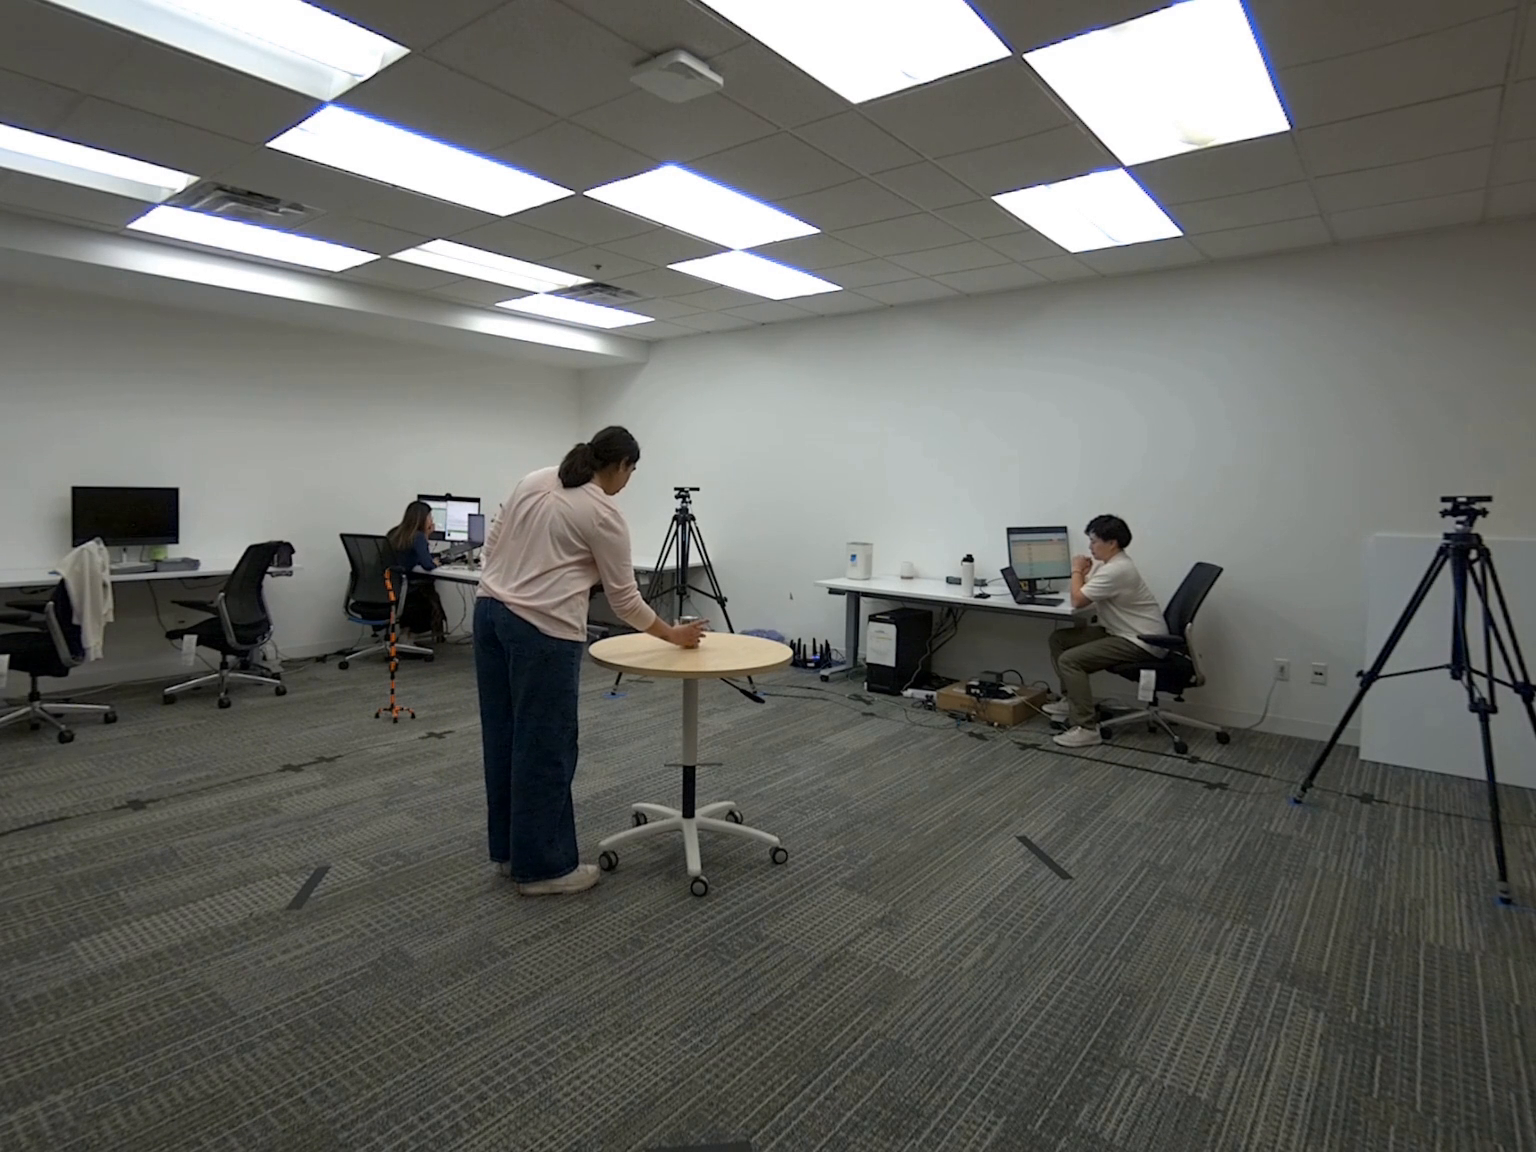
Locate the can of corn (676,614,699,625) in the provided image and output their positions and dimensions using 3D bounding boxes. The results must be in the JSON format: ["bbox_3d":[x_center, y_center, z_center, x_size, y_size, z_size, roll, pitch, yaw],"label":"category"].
[{"bbox_3d":[-0.310,0.212,3.237,0.074,0.111,0.074,1,4,-2],"label":"can of corn"}]
